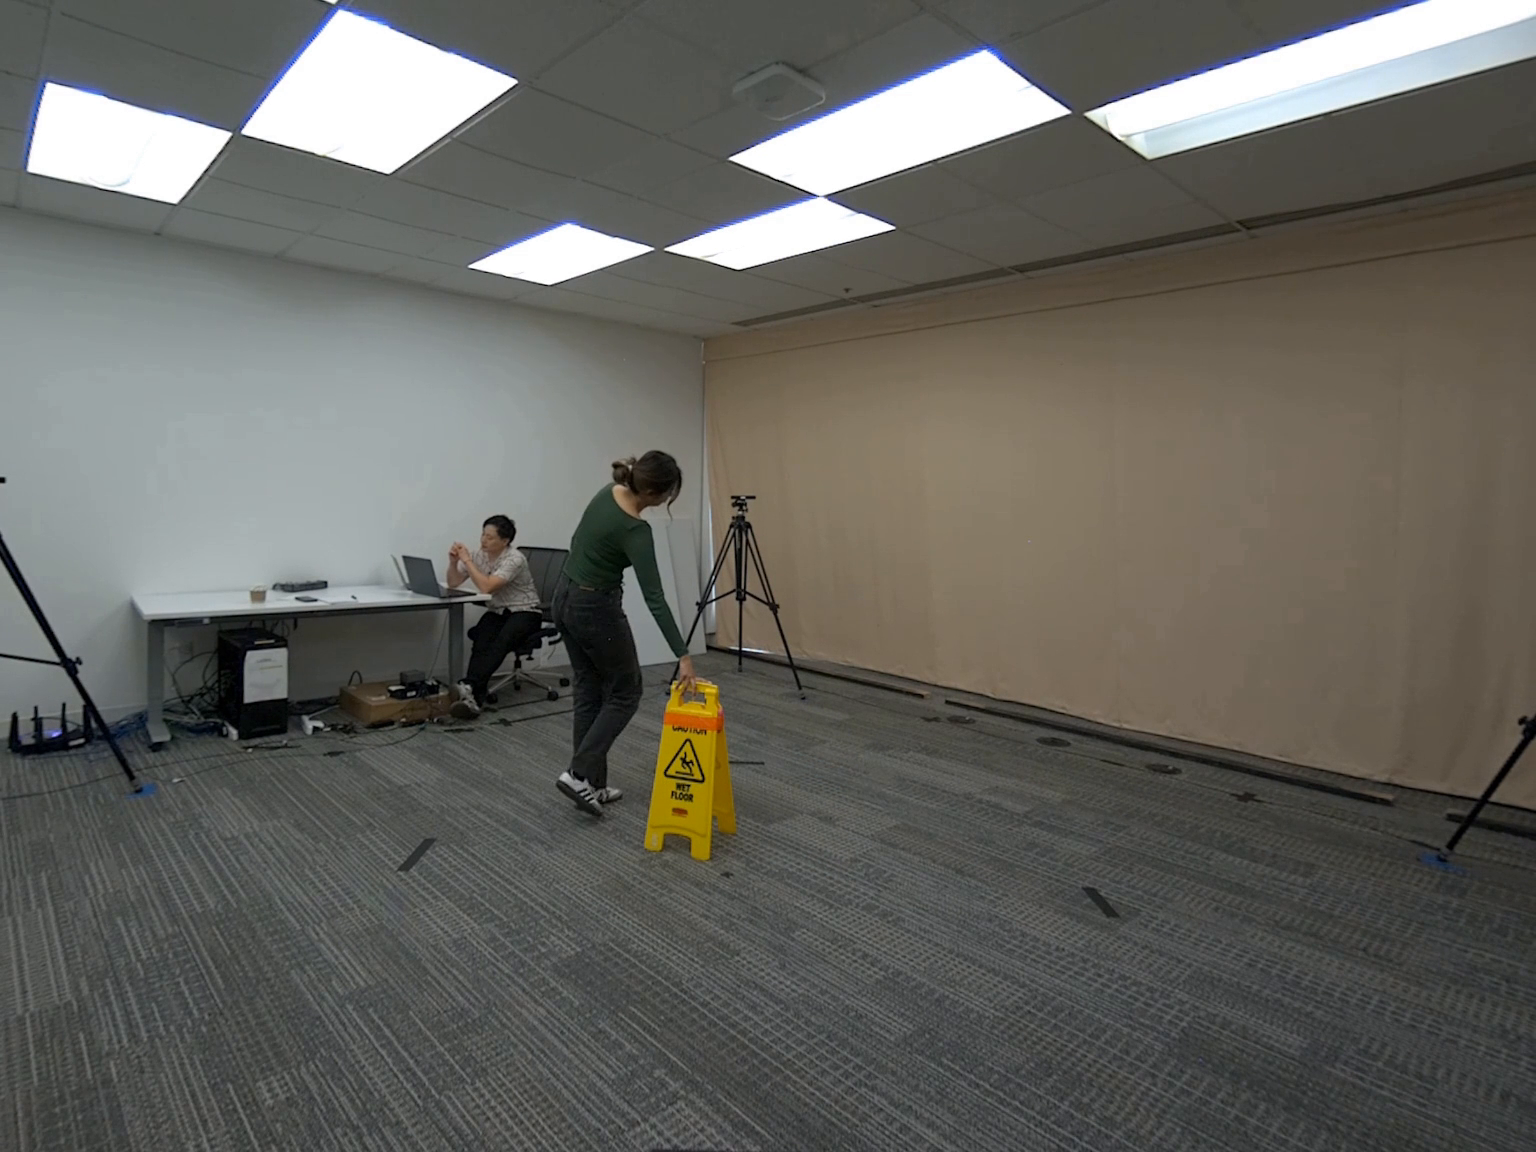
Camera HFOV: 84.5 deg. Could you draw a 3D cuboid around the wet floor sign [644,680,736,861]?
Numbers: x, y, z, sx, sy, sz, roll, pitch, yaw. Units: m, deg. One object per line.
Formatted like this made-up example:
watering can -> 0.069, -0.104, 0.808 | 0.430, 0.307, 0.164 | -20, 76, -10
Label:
wet floor sign -> -0.311, 0.751, 3.384 | 0.287, 0.644, 0.286 | 1, 4, 20
